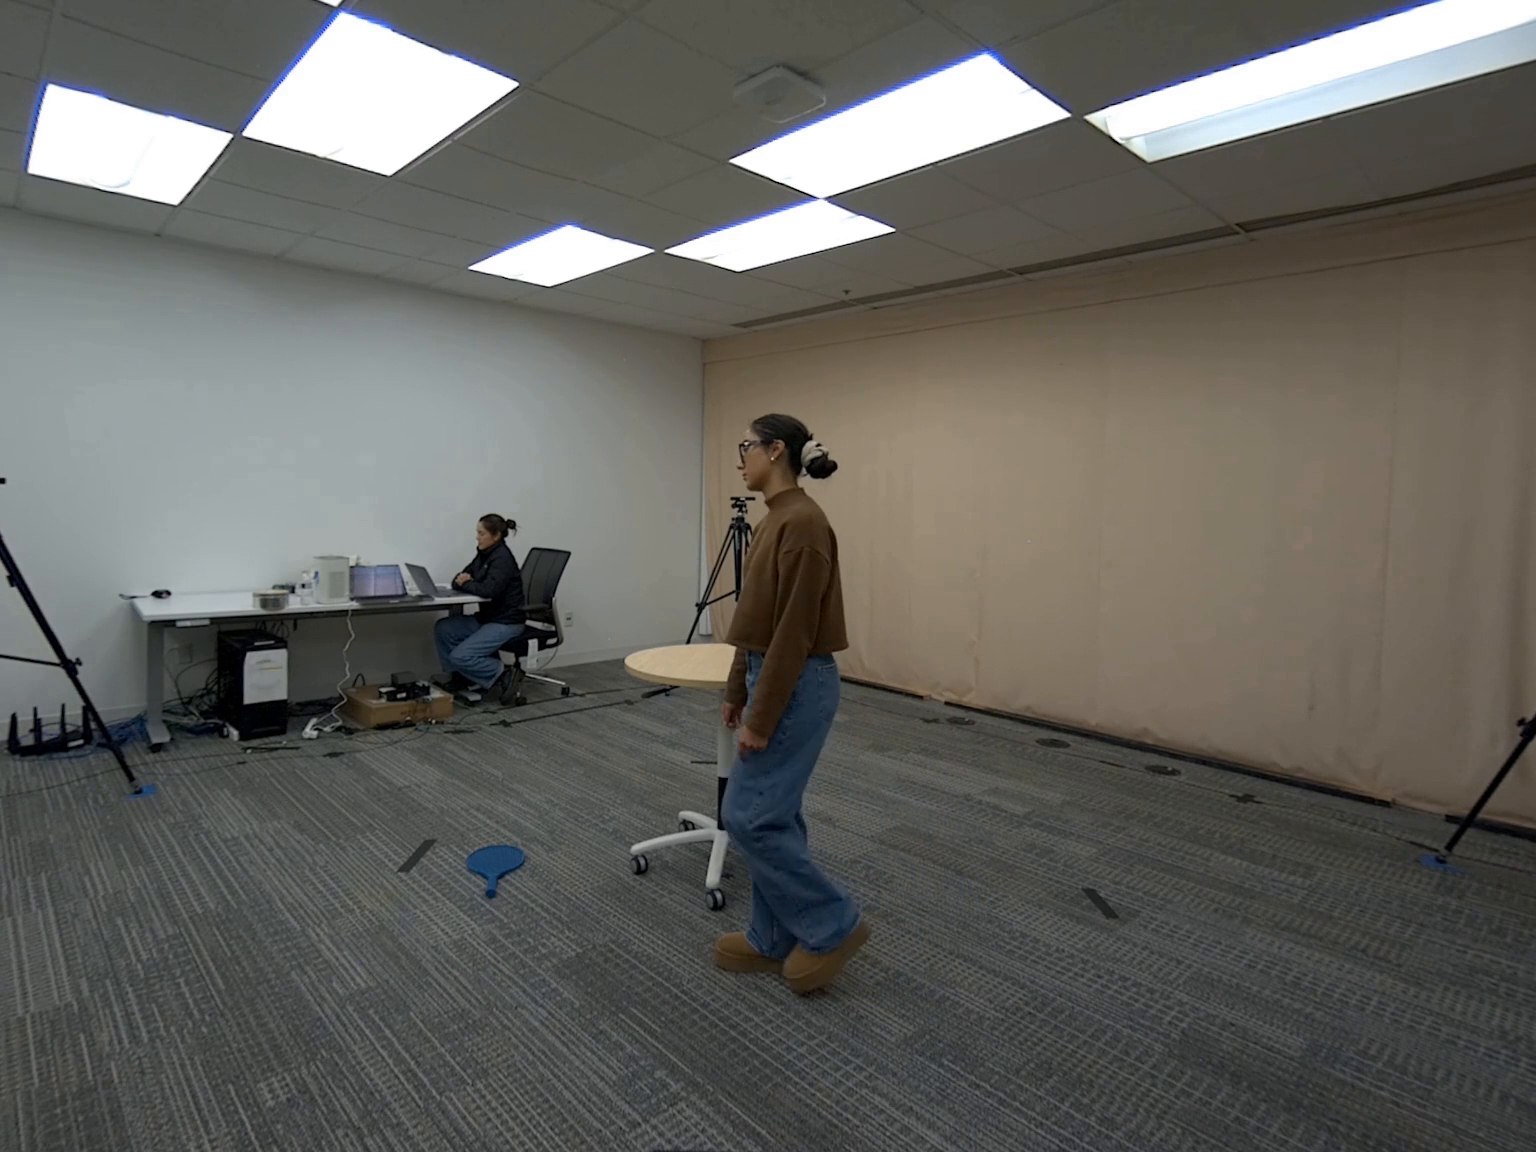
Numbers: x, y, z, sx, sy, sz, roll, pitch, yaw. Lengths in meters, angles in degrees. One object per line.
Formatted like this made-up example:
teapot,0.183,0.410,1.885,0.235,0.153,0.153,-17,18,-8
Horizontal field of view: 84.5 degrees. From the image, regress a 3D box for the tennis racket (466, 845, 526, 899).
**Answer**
tennis racket,-1.016,1.077,3.094,0.212,0.032,0.438,0,4,-13
